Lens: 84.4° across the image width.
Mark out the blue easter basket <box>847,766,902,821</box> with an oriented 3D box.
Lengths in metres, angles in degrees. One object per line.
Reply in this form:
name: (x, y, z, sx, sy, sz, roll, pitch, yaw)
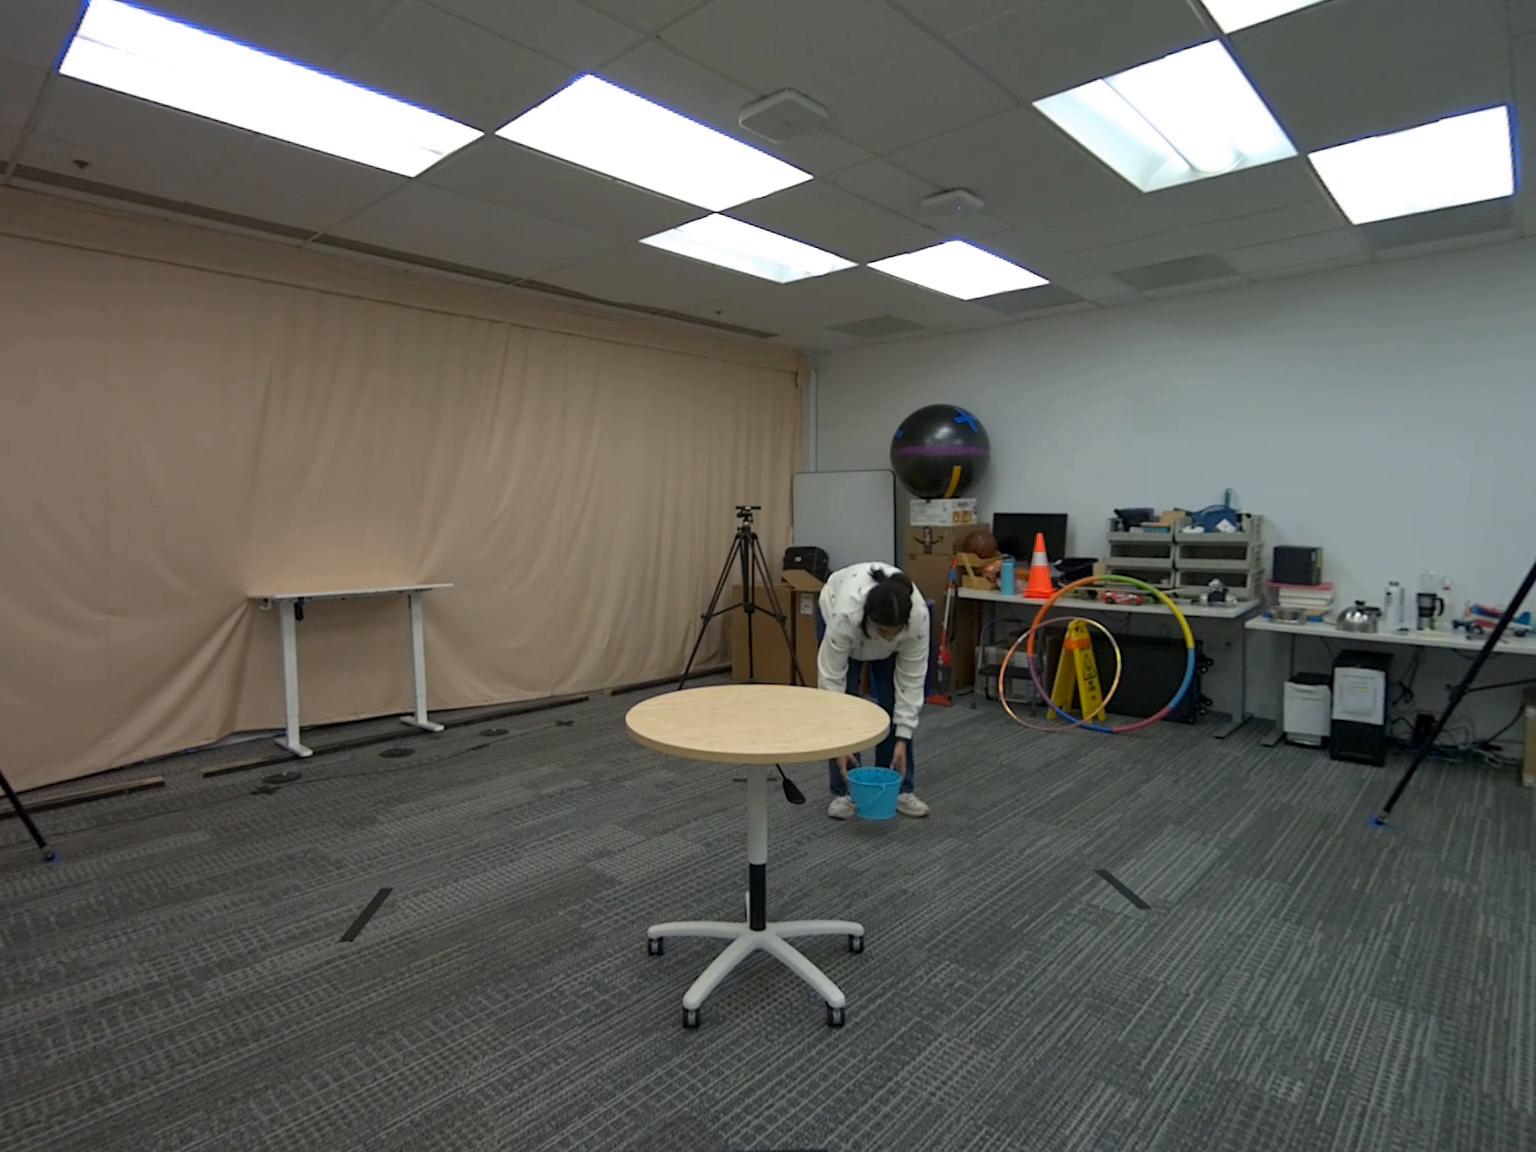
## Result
blue easter basket: (0.449, 0.910, 3.556, 0.243, 0.155, 0.244, 1, 5, -2)
